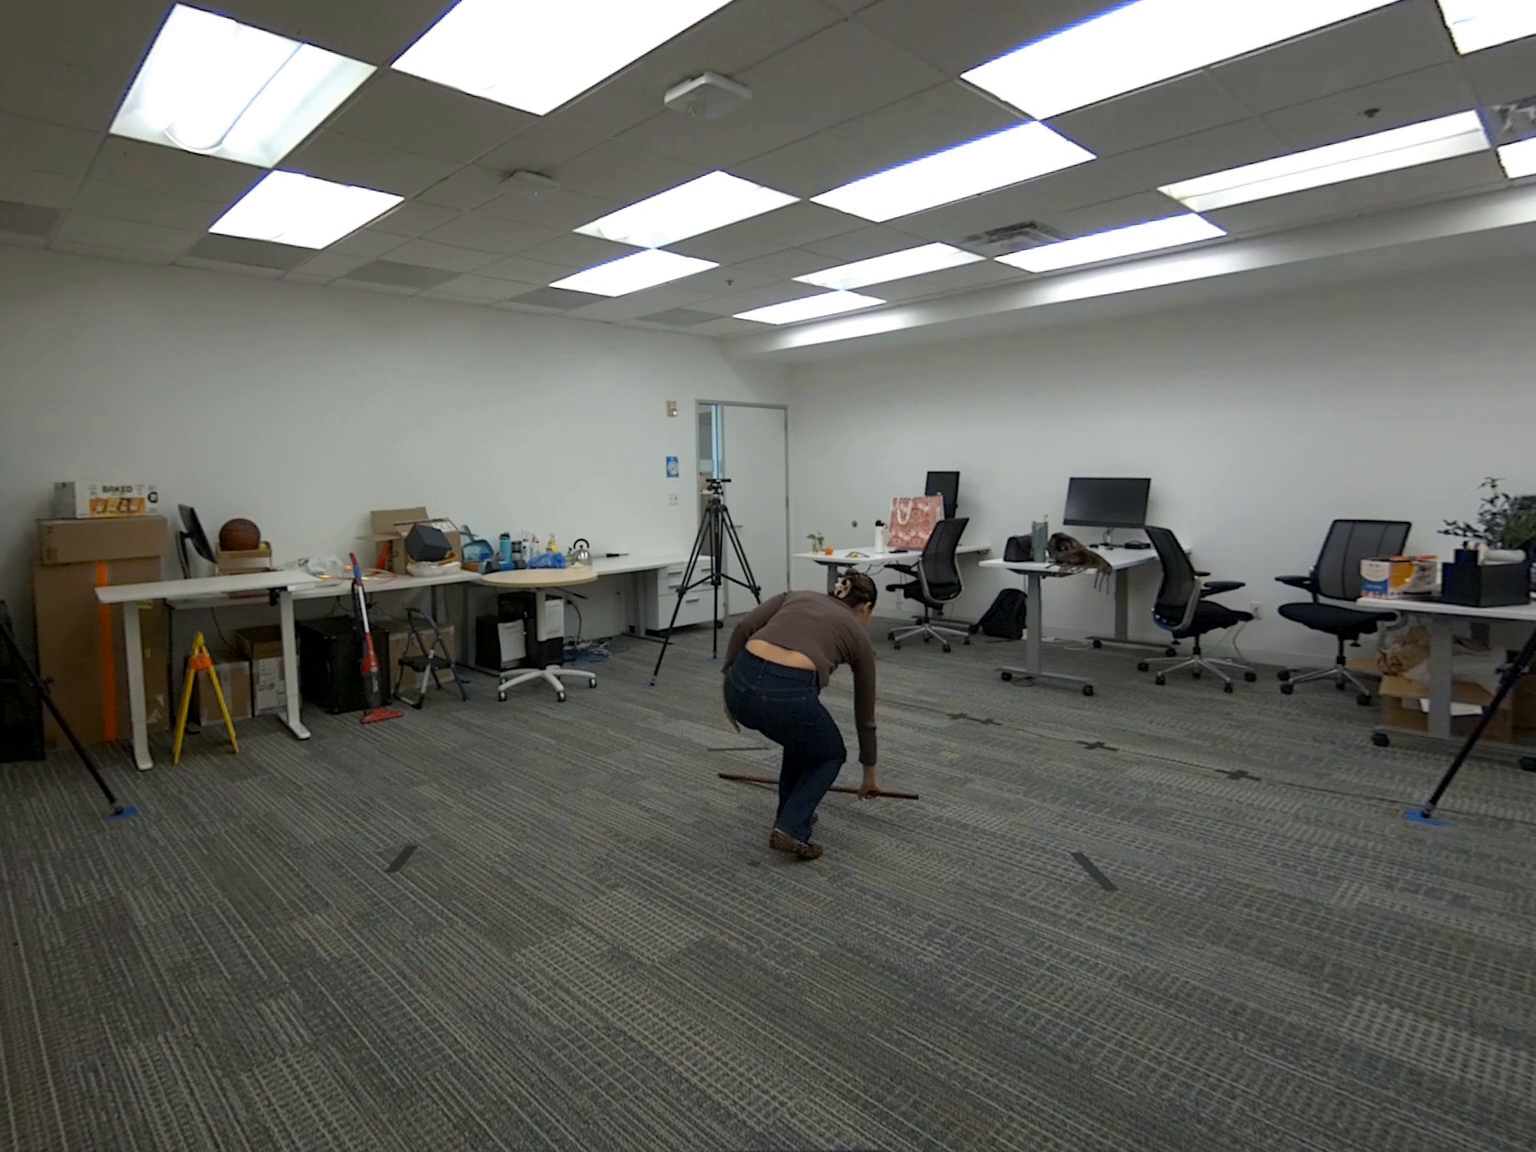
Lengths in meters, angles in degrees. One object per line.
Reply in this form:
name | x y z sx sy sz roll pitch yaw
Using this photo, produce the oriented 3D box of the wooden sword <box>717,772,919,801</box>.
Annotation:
wooden sword | 0.190 0.910 3.697 1.051 0.024 0.049 -4 -15 38
